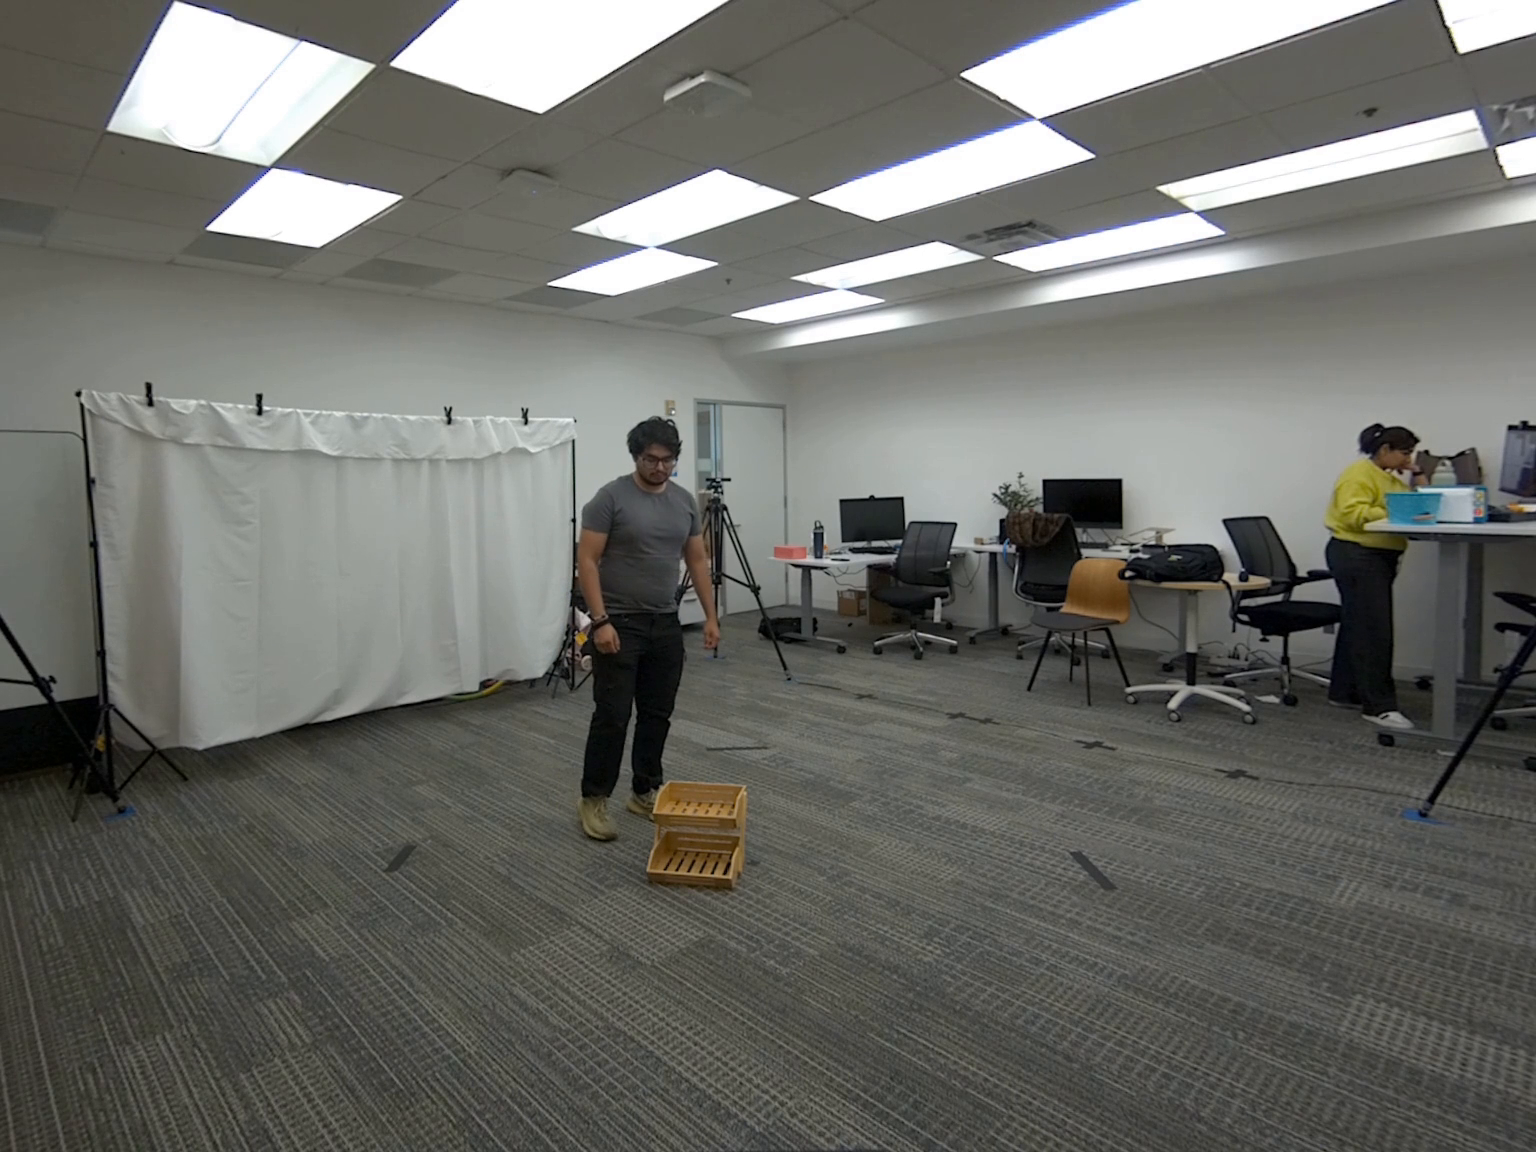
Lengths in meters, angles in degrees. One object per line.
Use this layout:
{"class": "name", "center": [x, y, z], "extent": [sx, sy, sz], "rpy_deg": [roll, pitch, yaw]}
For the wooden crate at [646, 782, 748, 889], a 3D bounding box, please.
{"class": "wooden crate", "center": [-0.249, 0.918, 3.053], "extent": [0.328, 0.272, 0.300], "rpy_deg": [0, 4, 10]}
